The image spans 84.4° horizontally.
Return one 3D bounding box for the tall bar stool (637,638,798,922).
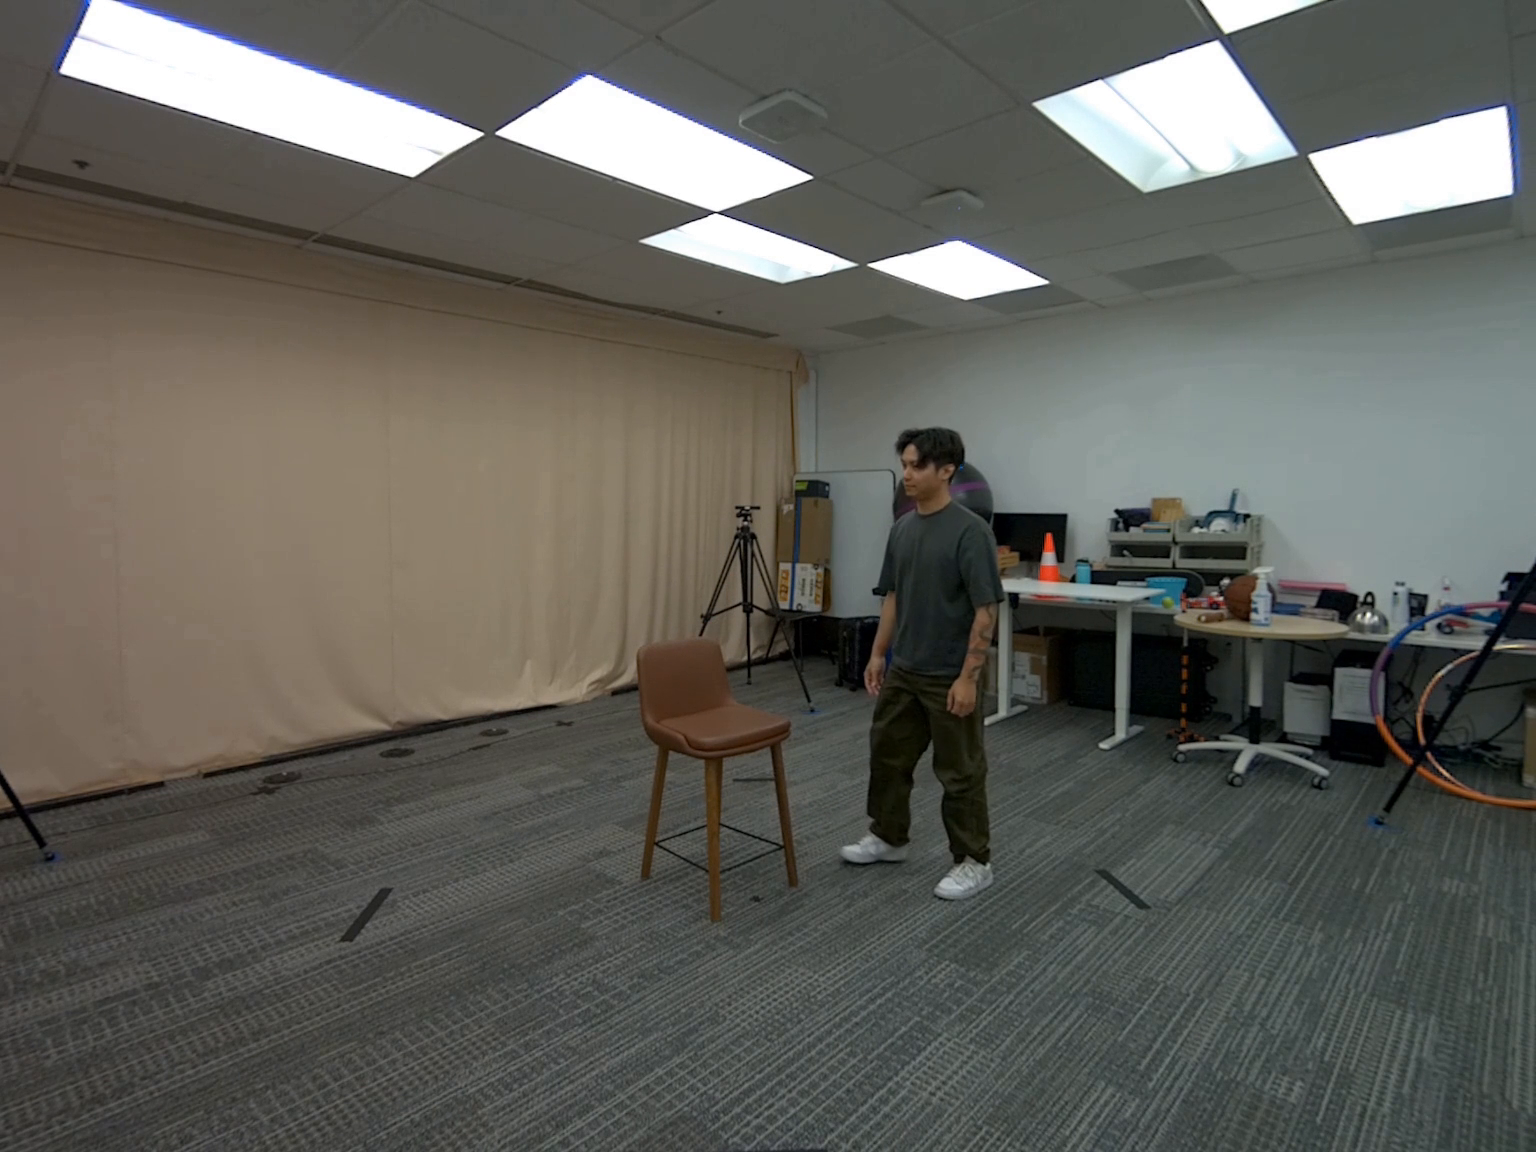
[{"bbox_3d":[-0.194,0.703,3.099,0.442,0.889,0.483,-3,2,-43],"label":"tall bar stool"}]
